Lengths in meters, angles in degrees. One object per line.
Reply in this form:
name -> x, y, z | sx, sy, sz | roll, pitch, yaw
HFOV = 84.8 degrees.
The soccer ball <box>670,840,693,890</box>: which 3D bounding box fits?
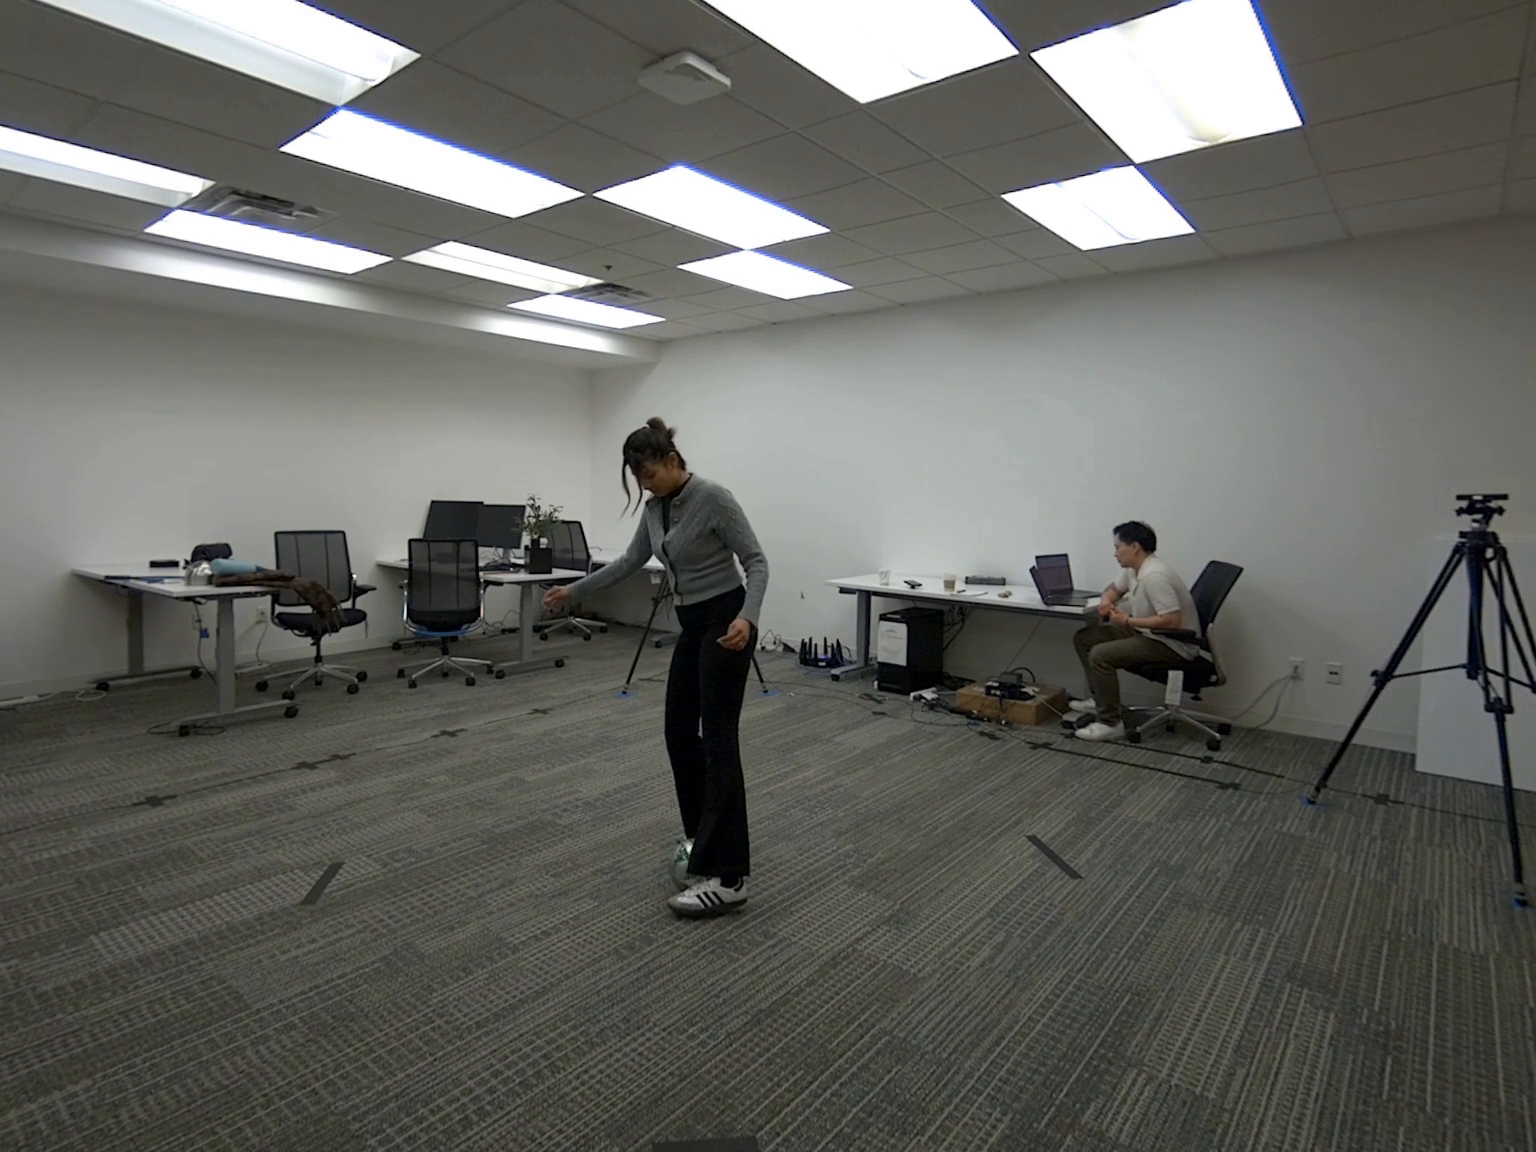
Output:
soccer ball -> -0.272, 0.984, 2.940 | 0.187, 0.187, 0.188 | 1, 4, -2
